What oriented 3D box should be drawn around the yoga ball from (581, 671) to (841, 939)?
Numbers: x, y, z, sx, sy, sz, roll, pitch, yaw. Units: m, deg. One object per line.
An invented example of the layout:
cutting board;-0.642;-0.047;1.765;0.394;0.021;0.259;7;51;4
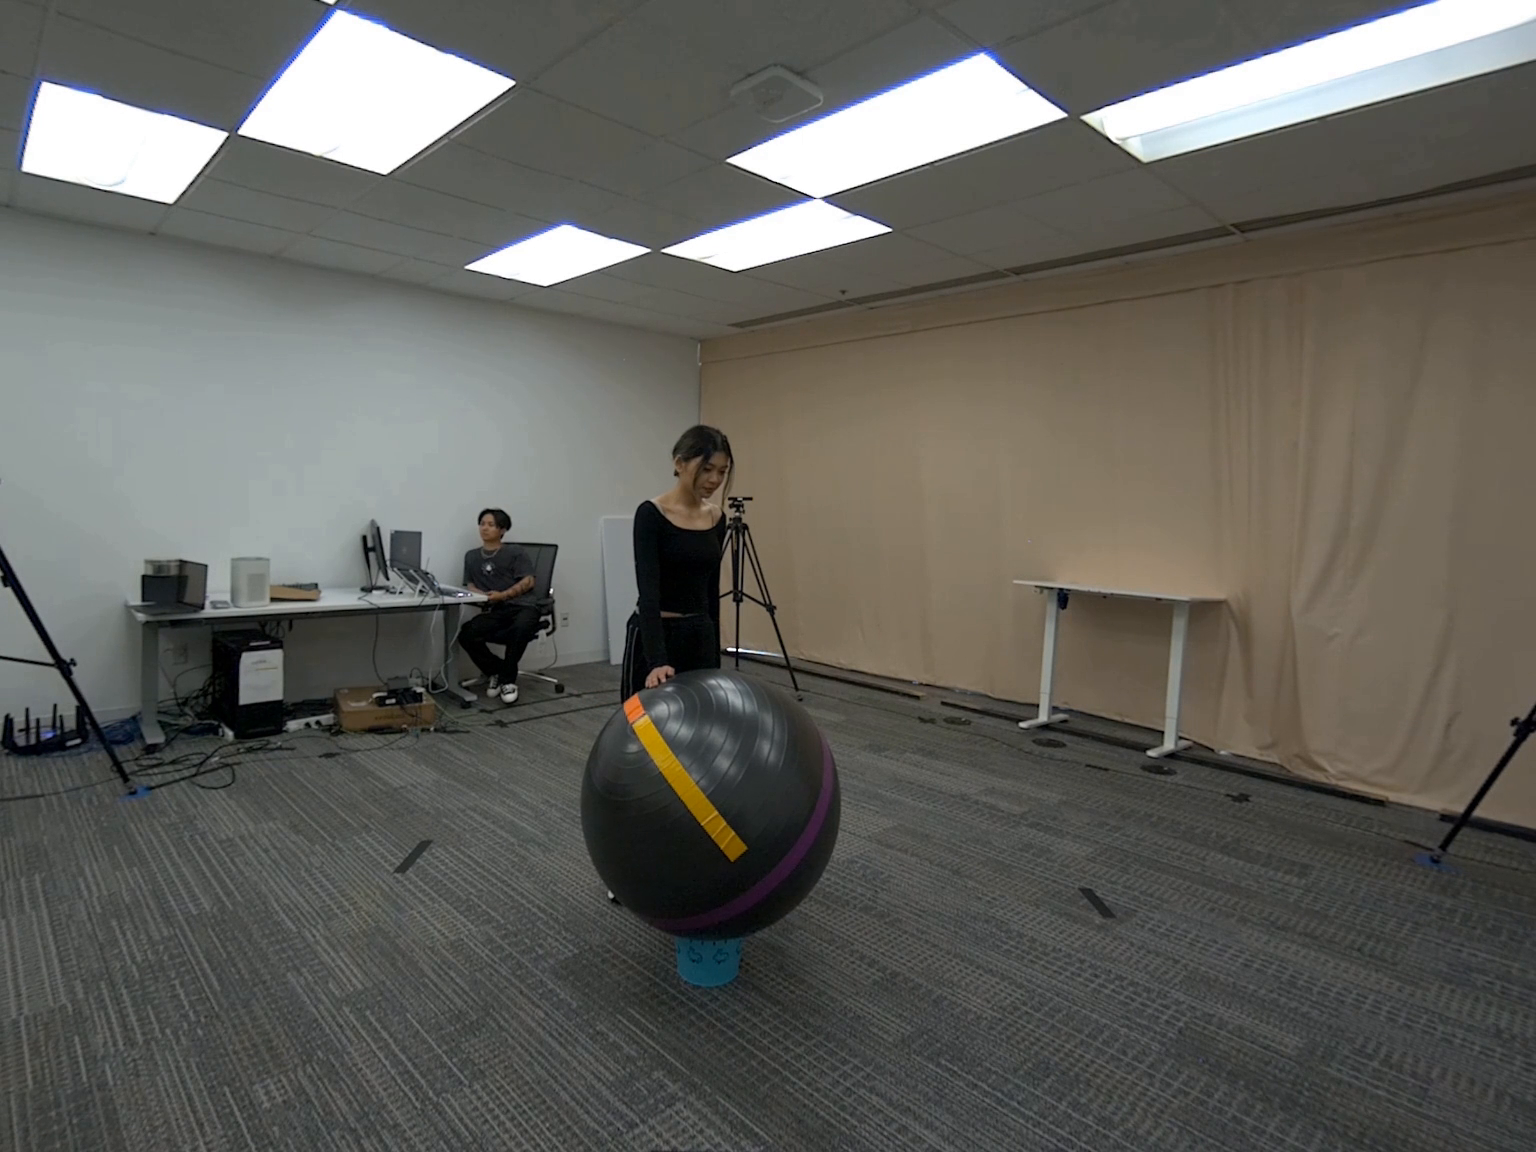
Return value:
yoga ball;-0.162;0.659;2.455;0.757;0.756;0.761;1;4;-1
